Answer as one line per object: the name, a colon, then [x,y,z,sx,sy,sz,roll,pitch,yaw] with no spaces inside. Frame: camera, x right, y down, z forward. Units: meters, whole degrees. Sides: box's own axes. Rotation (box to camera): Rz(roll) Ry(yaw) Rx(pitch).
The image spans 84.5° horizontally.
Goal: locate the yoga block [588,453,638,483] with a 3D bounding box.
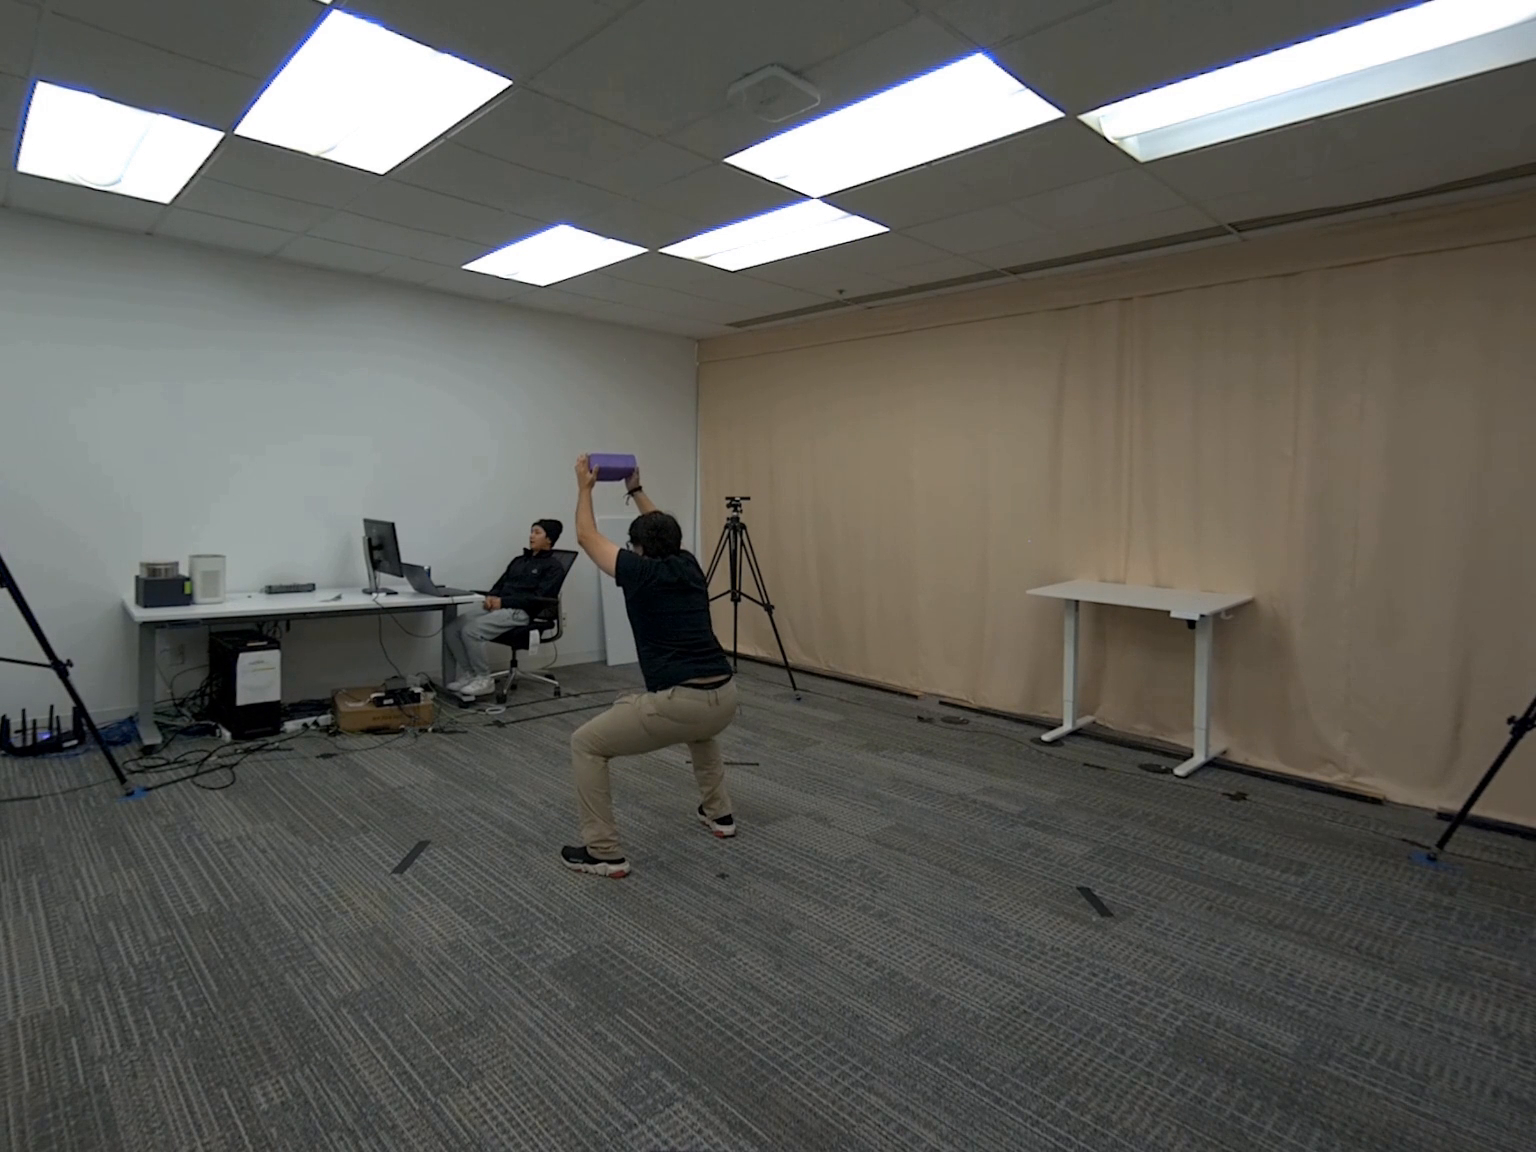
yoga block: [-0.705,-0.471,3.616,0.224,0.077,0.150,-7,-16,-44]
